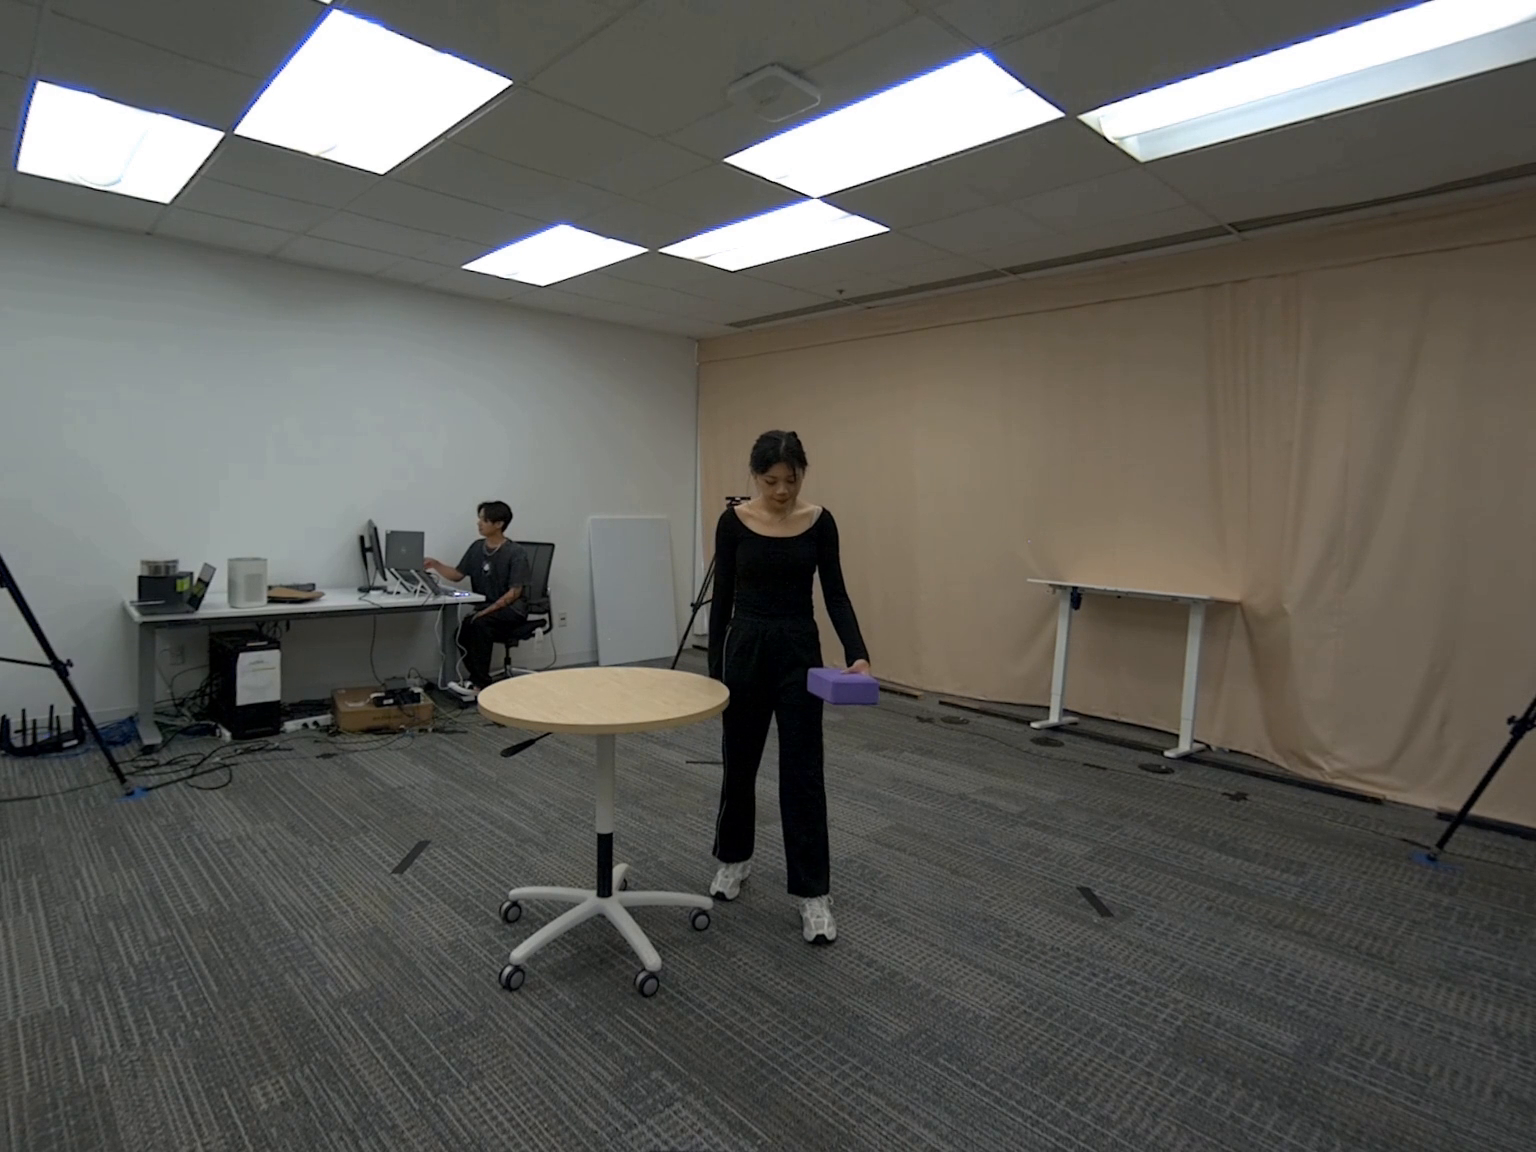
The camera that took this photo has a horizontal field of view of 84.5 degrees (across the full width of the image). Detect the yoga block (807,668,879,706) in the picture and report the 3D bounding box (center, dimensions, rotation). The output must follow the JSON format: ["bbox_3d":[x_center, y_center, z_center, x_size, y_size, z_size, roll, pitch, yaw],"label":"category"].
[{"bbox_3d":[0.211,0.334,2.541,0.147,0.076,0.232,3,1,-14],"label":"yoga block"}]
